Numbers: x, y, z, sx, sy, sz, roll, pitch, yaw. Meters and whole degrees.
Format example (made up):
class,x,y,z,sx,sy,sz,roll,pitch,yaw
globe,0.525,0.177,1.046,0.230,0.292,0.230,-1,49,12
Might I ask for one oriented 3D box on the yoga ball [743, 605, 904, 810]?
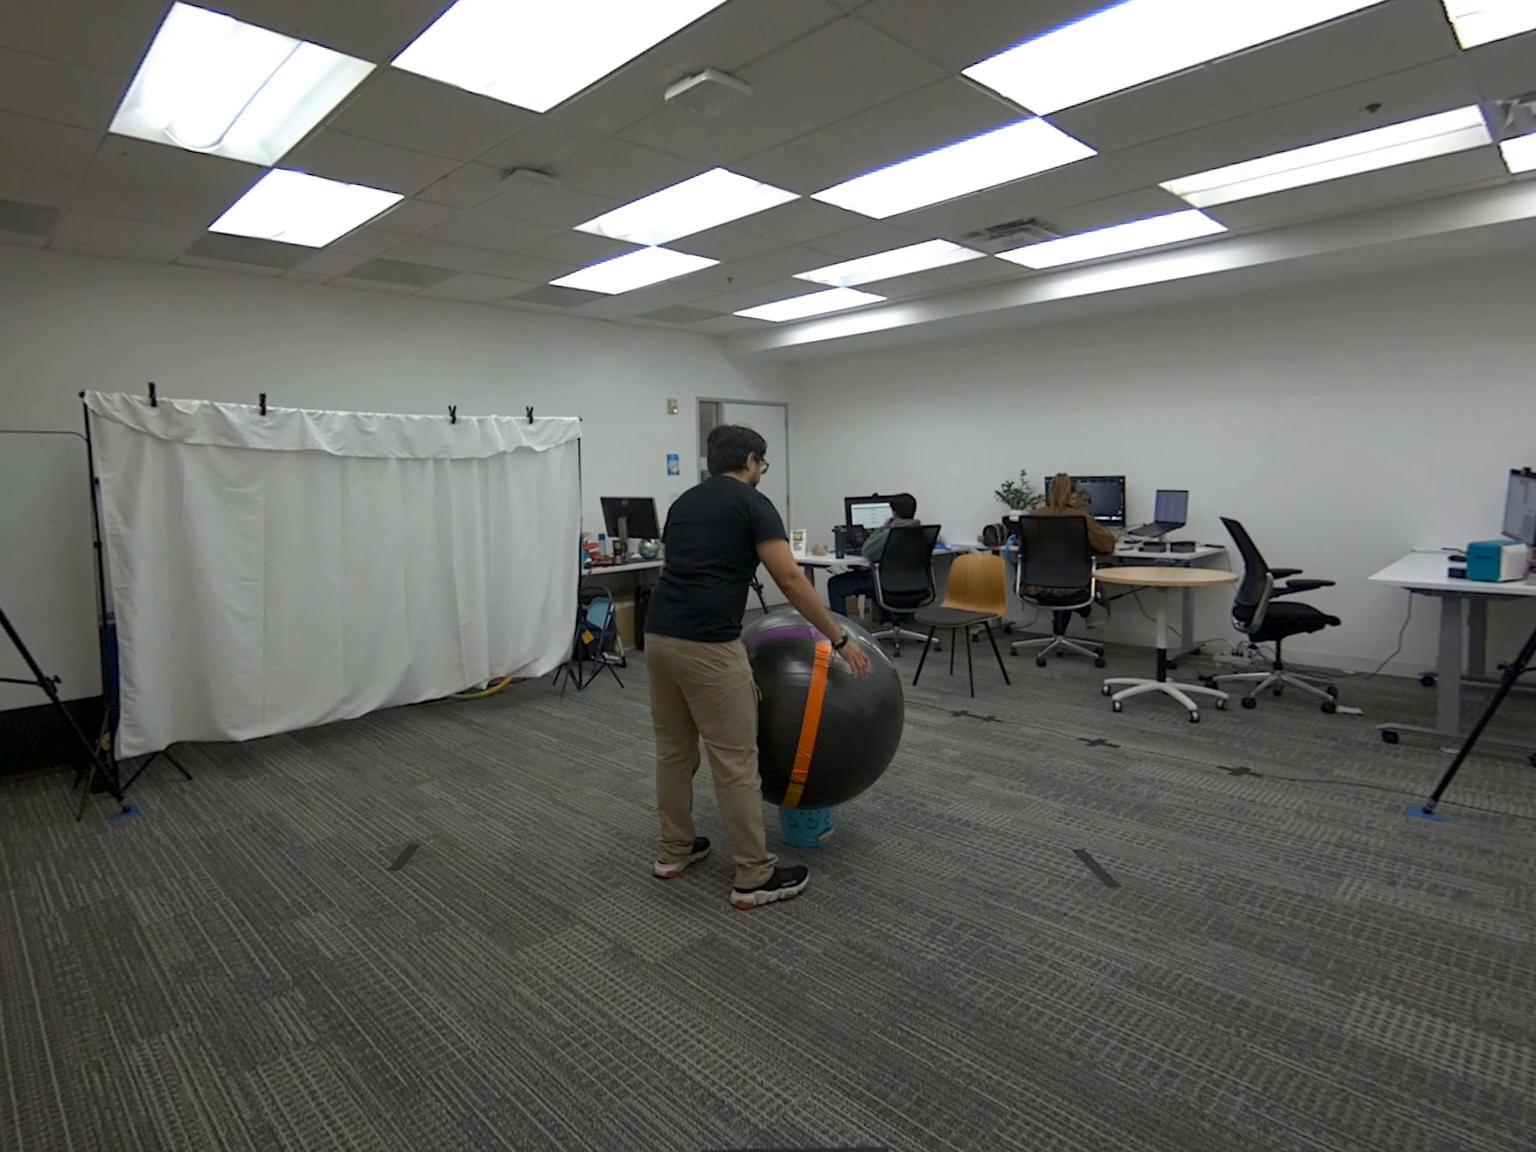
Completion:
class,x,y,z,sx,sy,sz,roll,pitch,yaw
yoga ball,0.135,0.505,3.288,0.757,0.755,0.762,-1,5,-2
